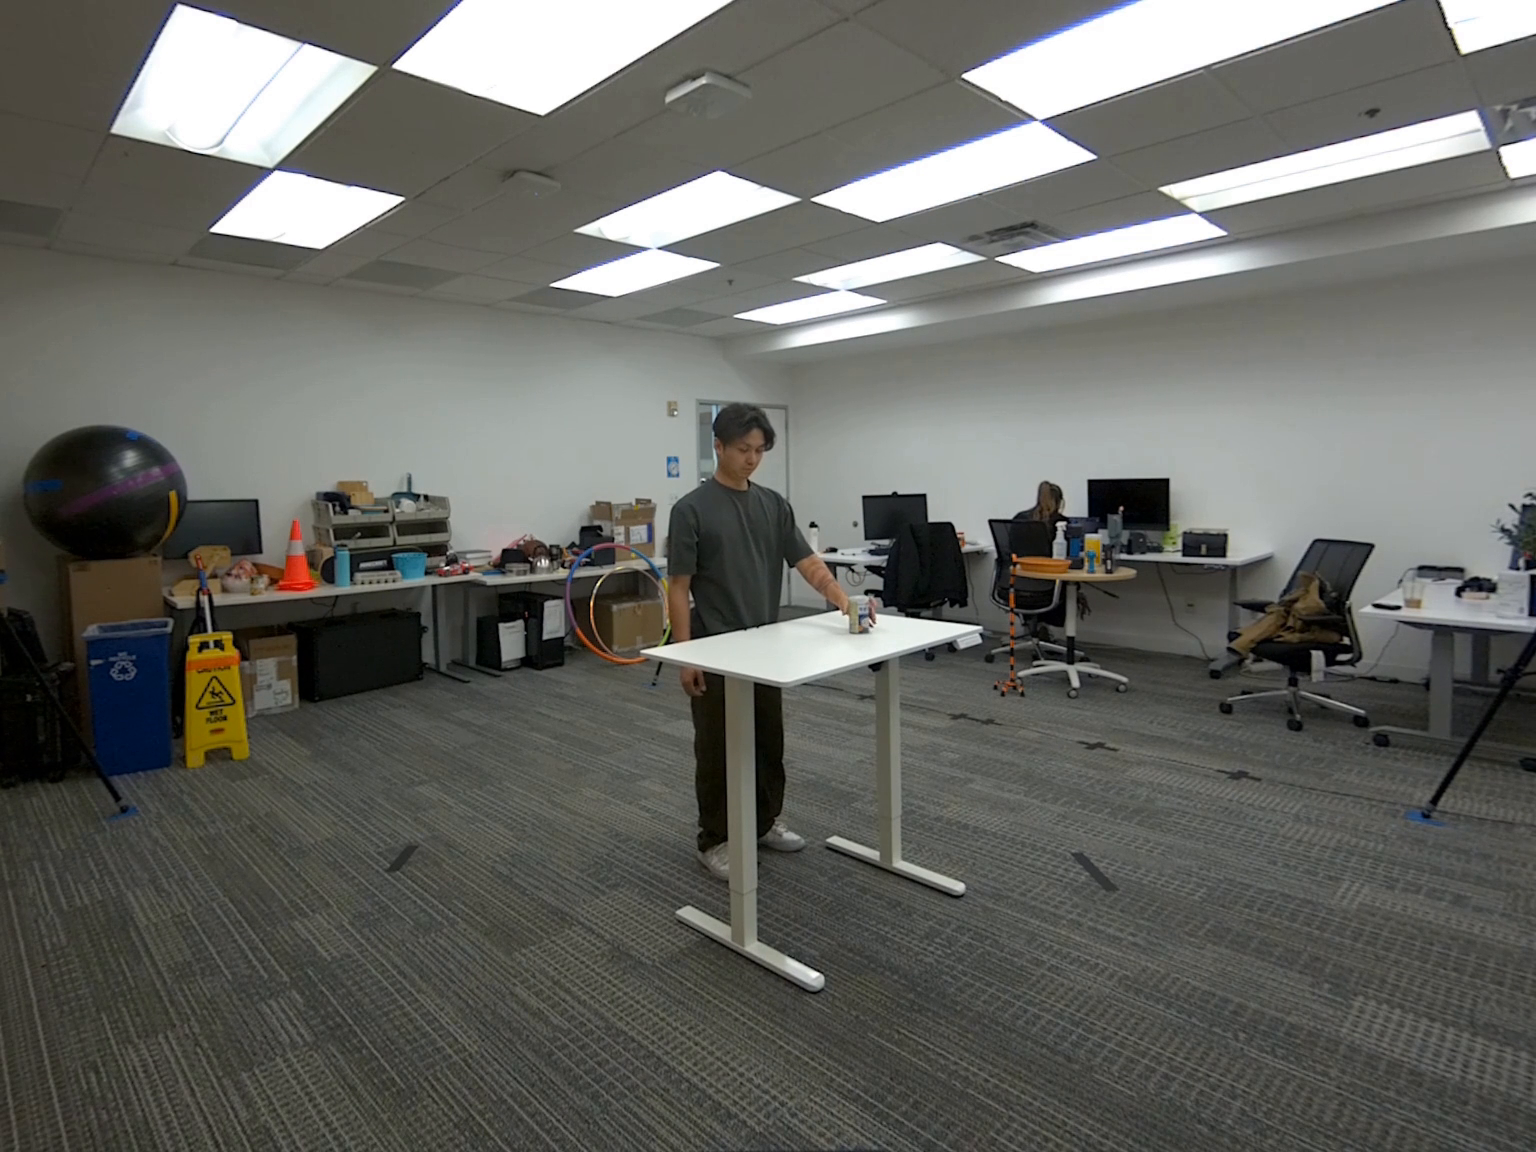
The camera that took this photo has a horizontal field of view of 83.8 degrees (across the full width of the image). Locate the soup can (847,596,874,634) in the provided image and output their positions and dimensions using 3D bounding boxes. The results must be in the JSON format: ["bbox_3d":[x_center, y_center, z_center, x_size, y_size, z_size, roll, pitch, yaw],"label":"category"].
[{"bbox_3d":[0.289,0.132,2.817,0.067,0.121,0.067,-2,4,-1],"label":"soup can"}]
